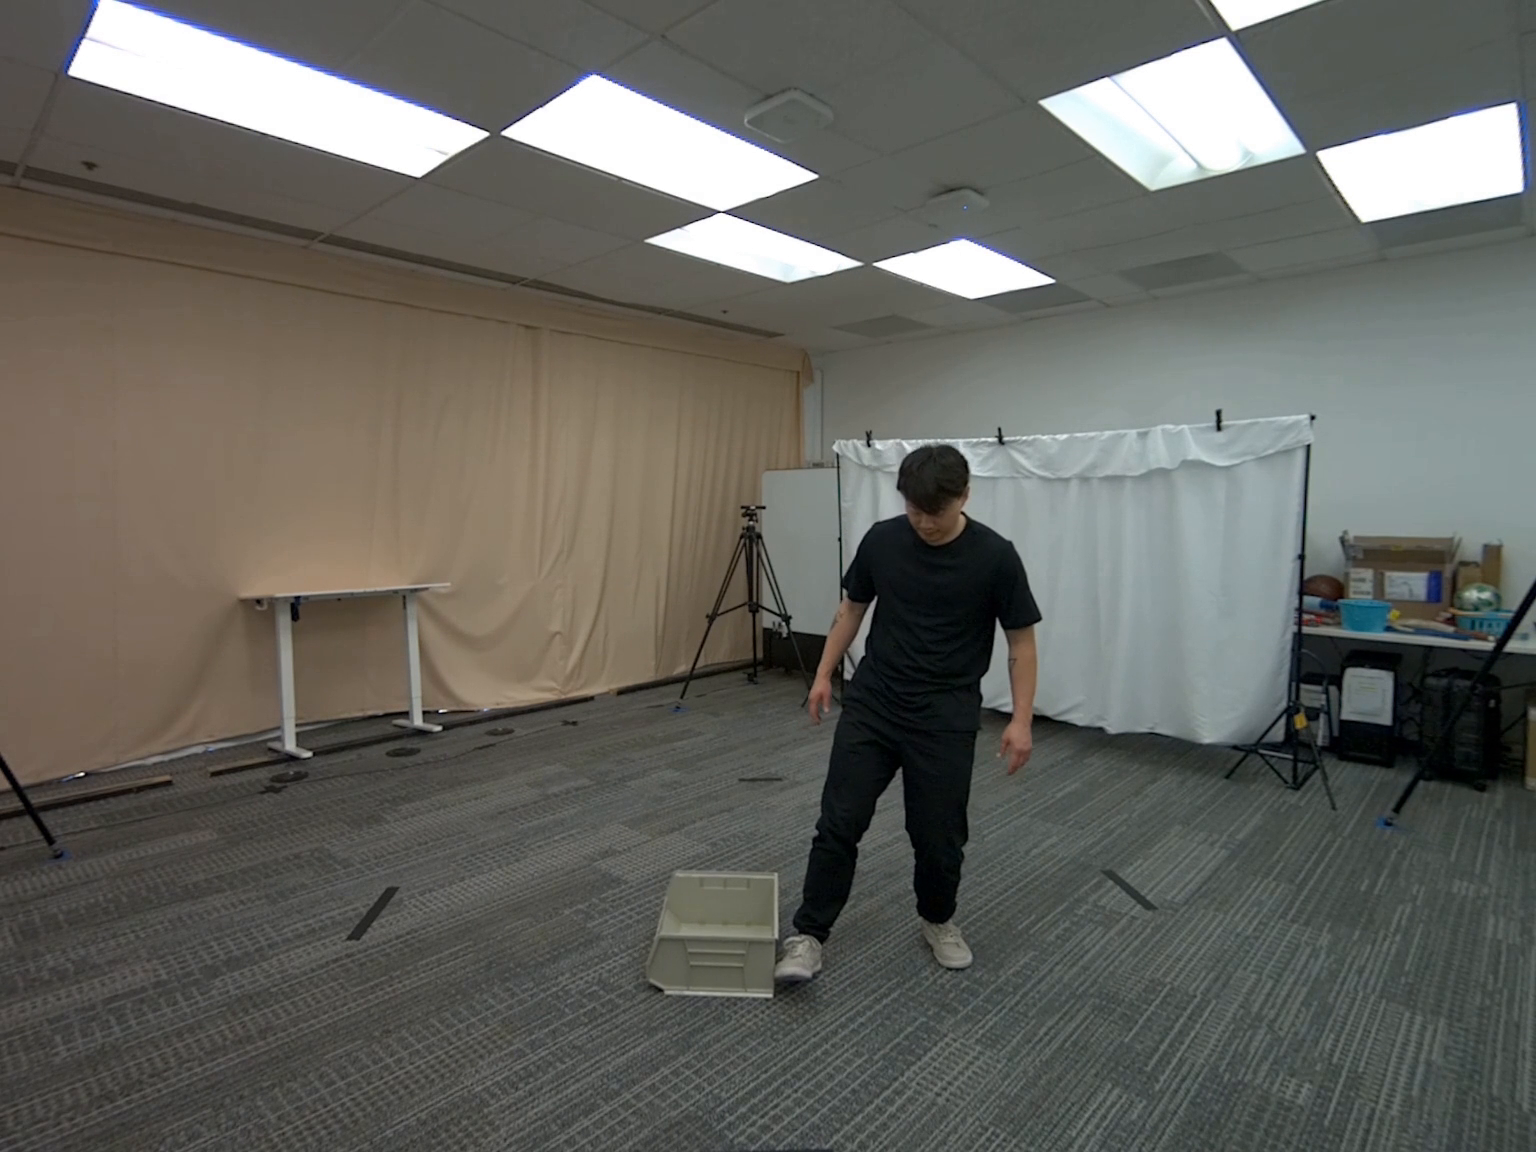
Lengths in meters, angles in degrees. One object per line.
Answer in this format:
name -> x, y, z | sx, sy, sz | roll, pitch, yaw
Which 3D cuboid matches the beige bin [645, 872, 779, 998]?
beige bin -> -0.159, 1.096, 2.584 | 0.379, 0.188, 0.422 | 1, 4, 2
